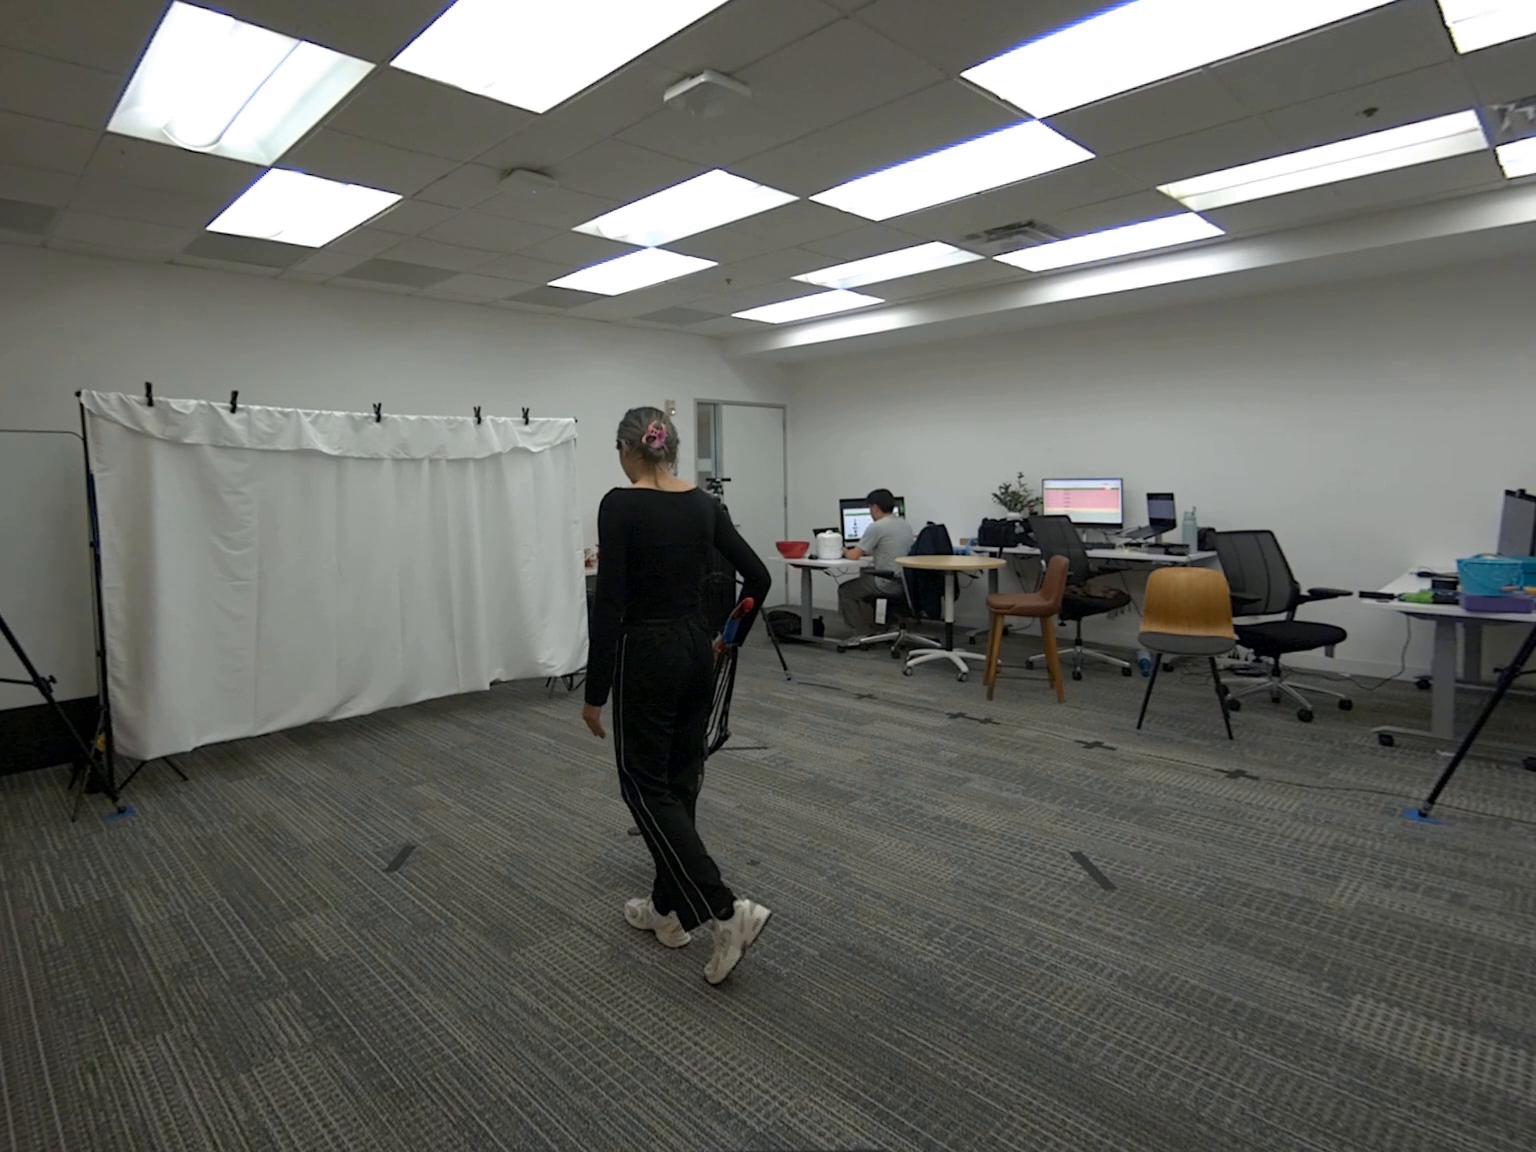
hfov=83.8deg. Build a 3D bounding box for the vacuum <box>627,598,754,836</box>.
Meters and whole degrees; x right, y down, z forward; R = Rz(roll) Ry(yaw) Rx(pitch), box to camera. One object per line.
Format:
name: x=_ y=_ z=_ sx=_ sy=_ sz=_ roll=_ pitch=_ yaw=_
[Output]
vacuum: x=-0.216 y=0.510 z=2.816 sx=0.246 sy=1.034 sz=0.150 roll=-1 pitch=35 yaw=-31
